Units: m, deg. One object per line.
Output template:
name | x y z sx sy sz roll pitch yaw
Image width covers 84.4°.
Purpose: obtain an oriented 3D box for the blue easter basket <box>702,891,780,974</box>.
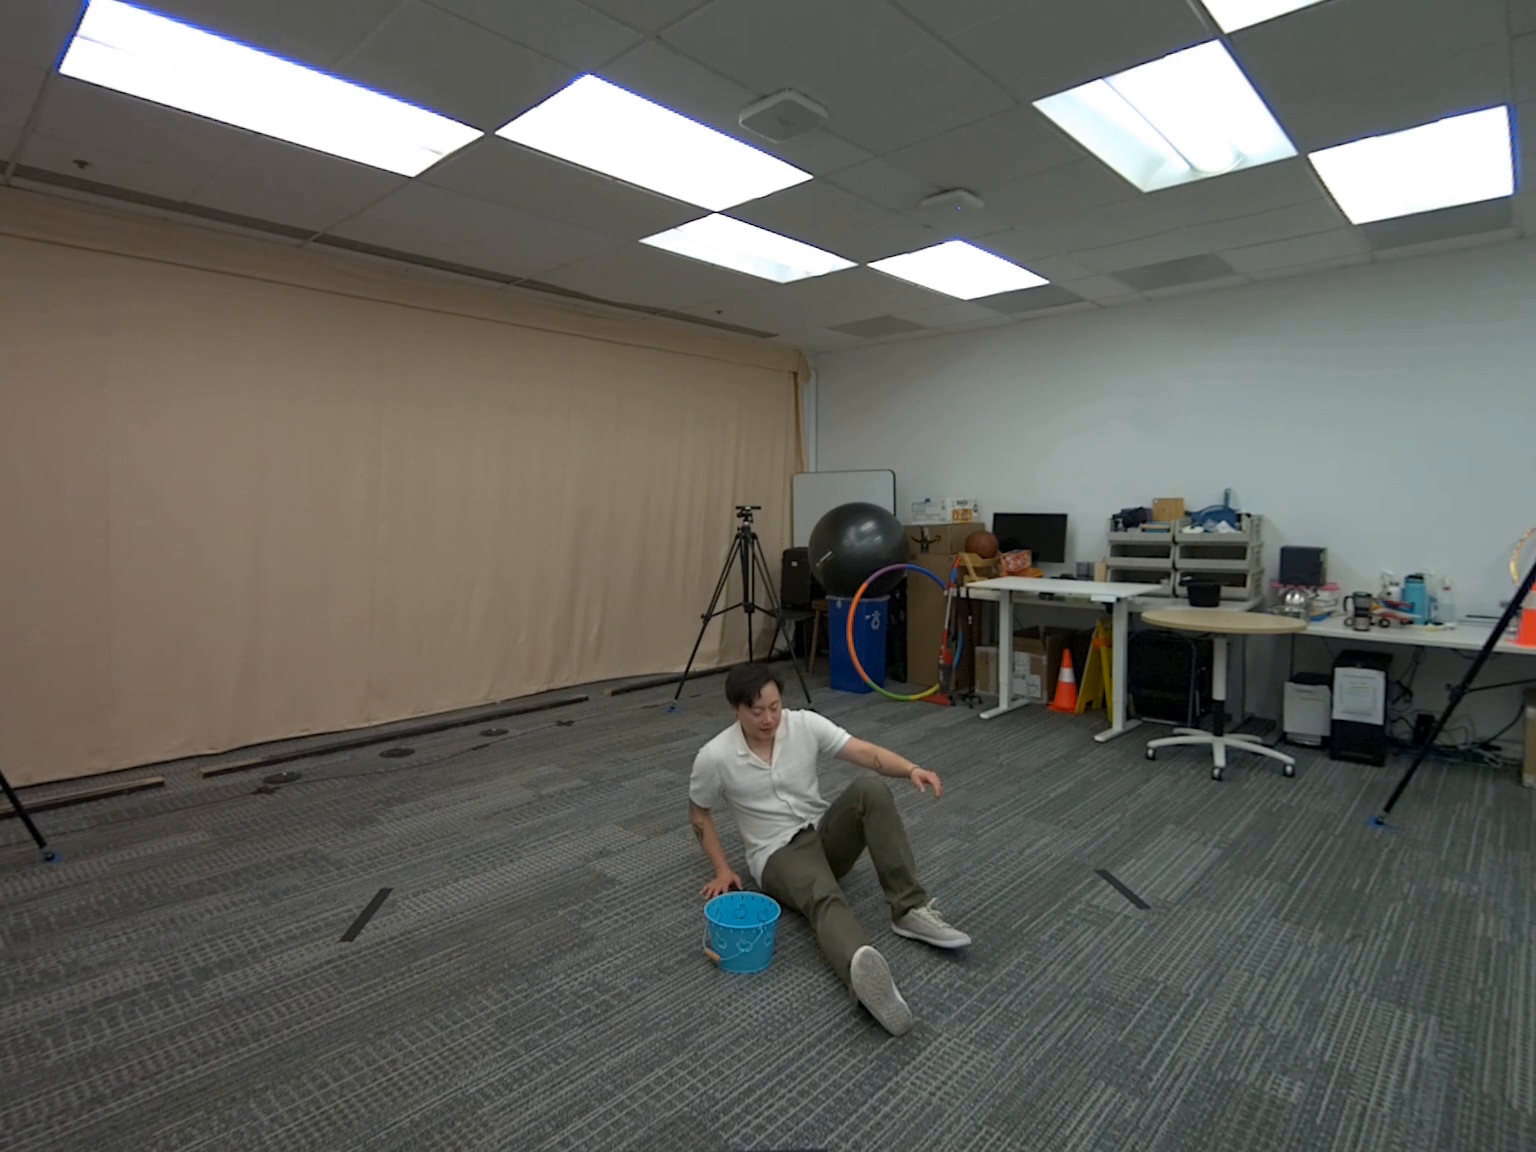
blue easter basket | -0.079 1.091 2.599 0.243 0.155 0.244 0 3 -2
